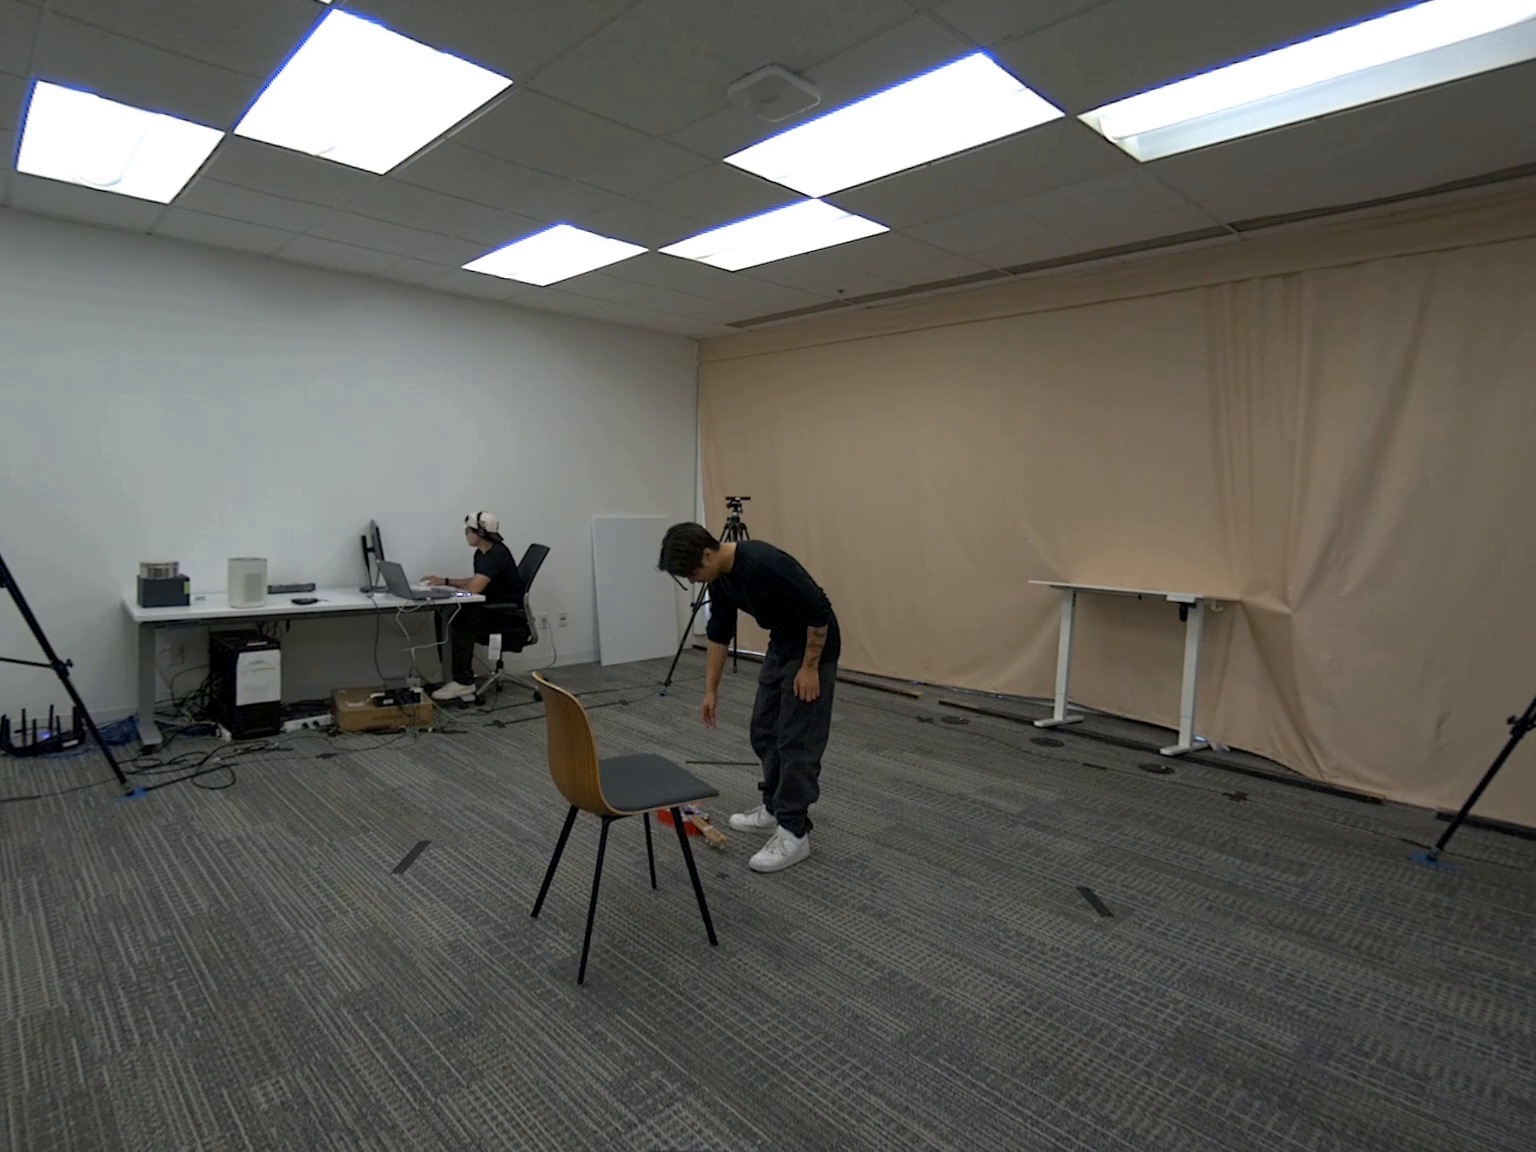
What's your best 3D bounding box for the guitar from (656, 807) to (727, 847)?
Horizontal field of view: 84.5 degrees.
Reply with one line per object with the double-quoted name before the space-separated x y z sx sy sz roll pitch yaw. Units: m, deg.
"guitar" -0.328 1.027 3.486 0.190 0.070 0.506 0 5 -19
